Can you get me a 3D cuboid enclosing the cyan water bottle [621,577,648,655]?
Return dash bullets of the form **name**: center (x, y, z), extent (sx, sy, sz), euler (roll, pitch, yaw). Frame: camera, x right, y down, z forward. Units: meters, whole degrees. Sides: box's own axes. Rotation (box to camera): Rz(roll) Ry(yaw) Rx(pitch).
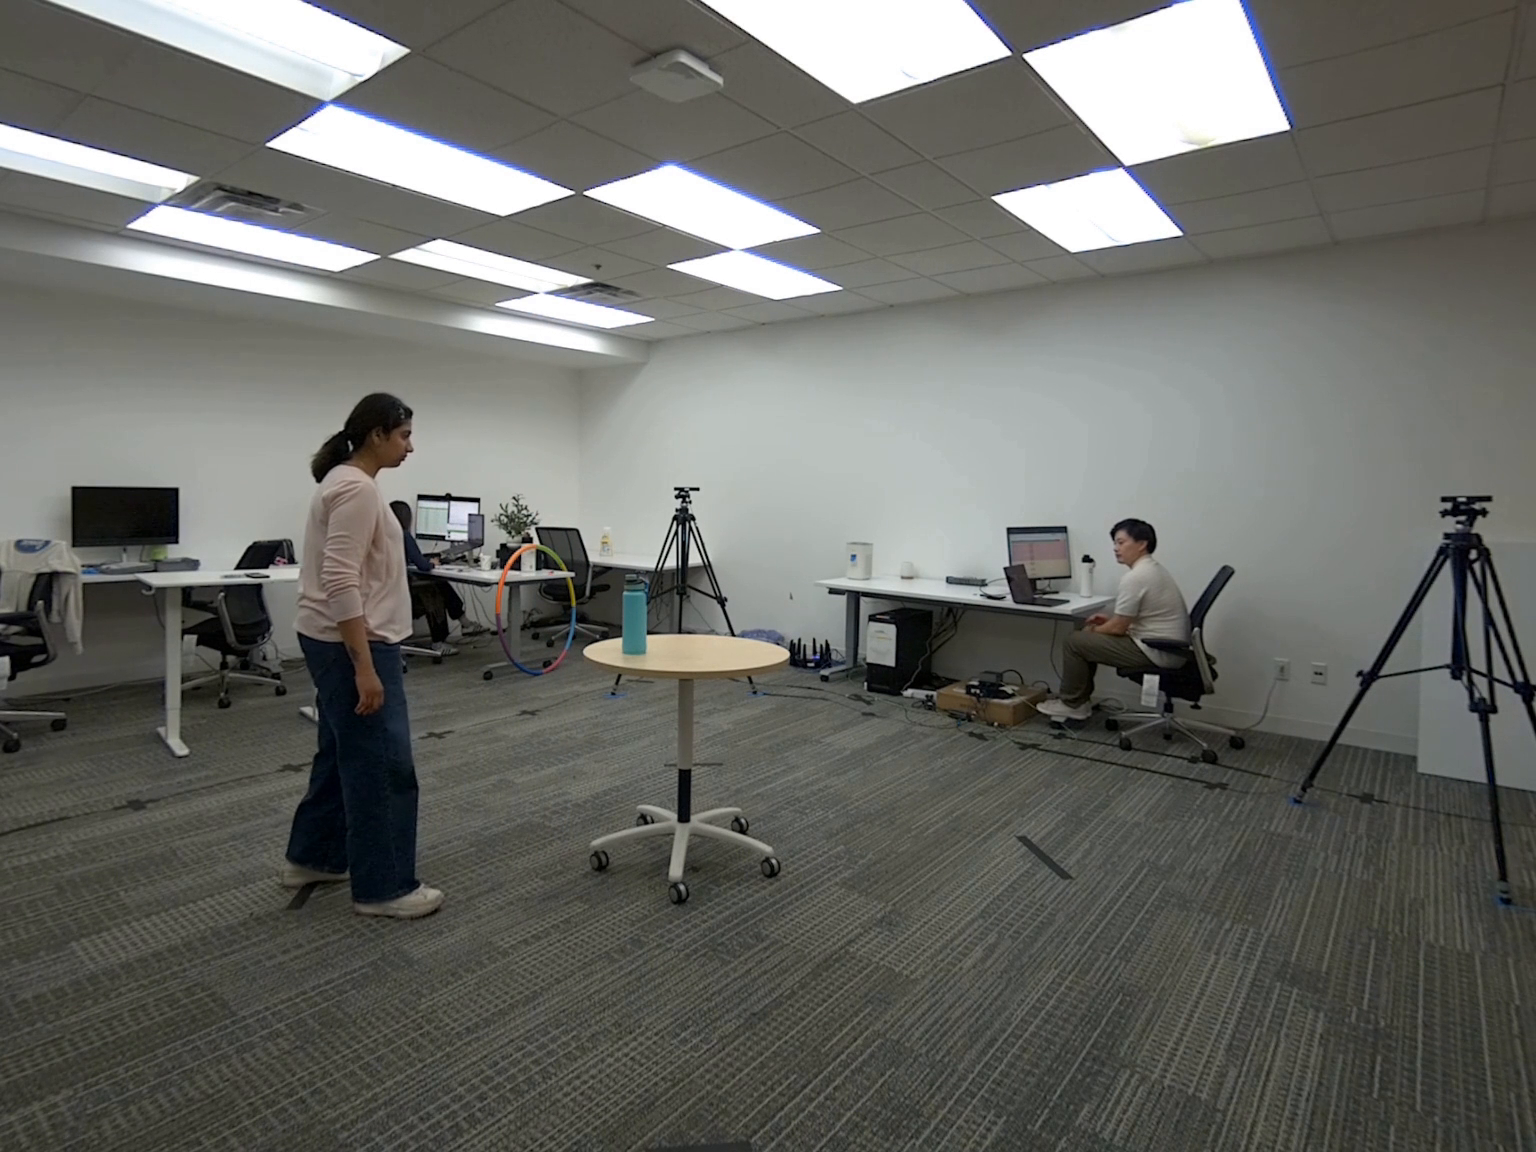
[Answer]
- **cyan water bottle**: center (-0.503, 0.142, 3.103), extent (0.092, 0.283, 0.092), euler (1, 2, -2)
